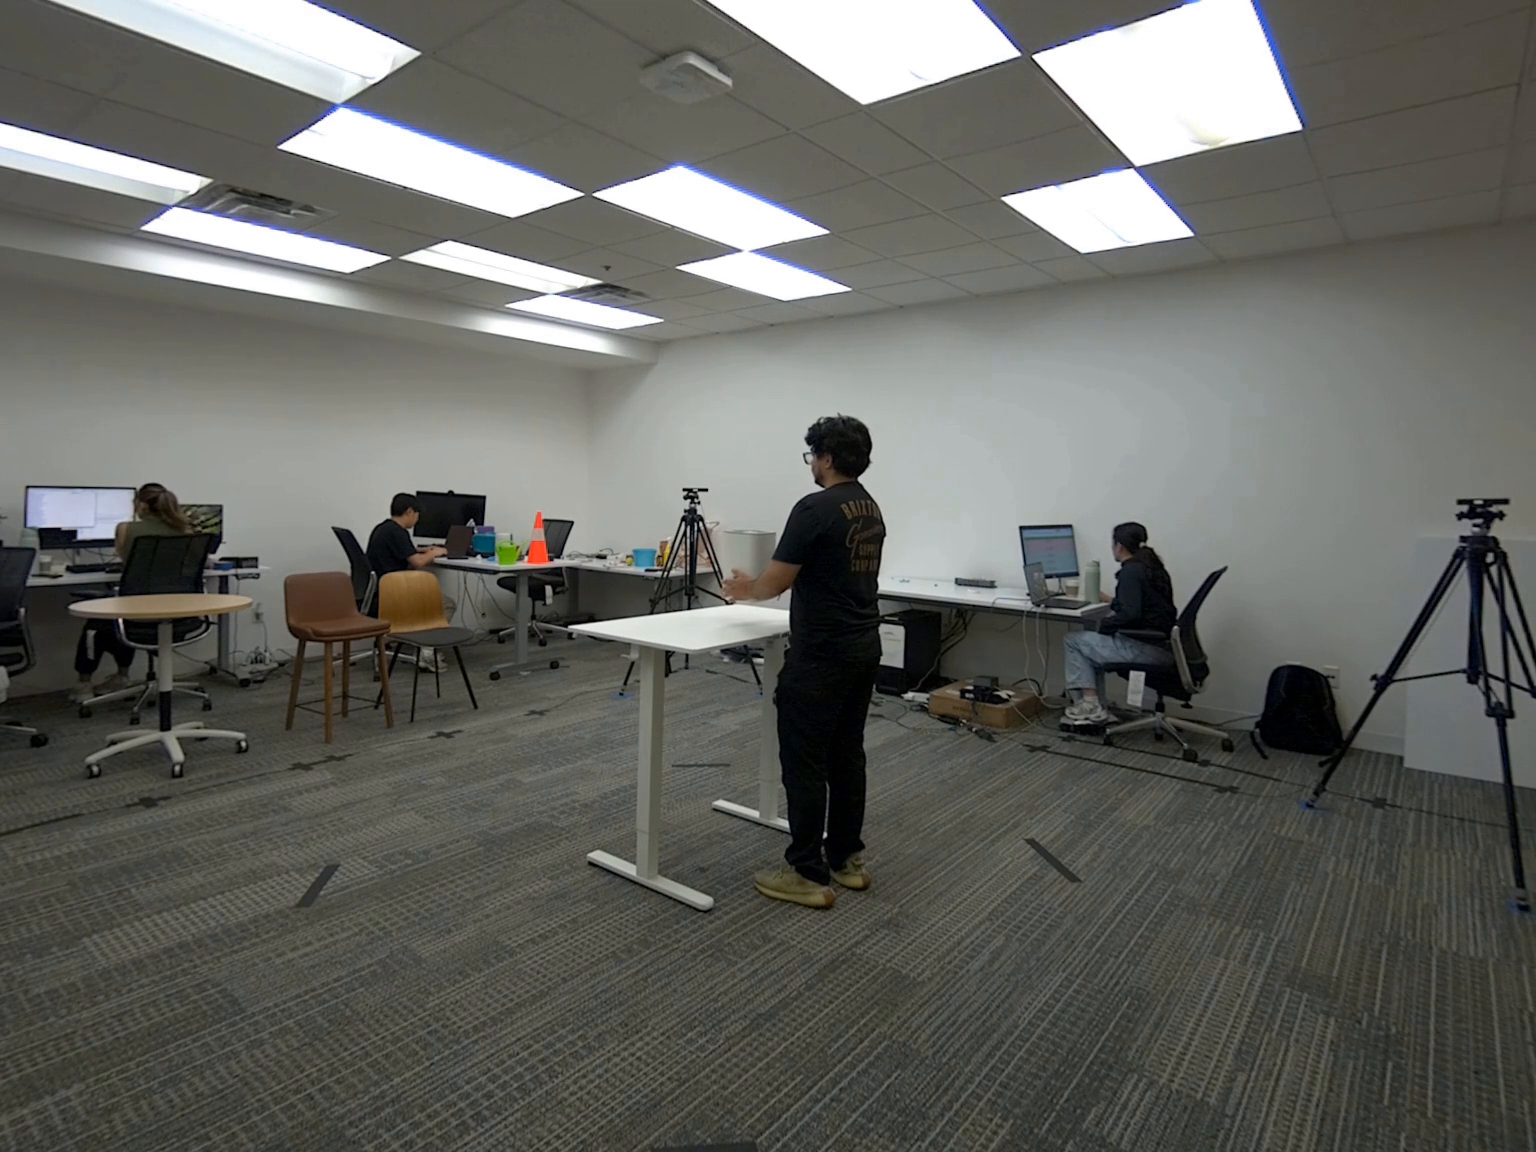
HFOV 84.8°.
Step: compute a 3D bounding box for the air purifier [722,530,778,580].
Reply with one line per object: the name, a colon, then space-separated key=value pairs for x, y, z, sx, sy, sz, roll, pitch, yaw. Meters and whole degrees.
air purifier: x=-0.079 y=-0.045 z=3.225 sx=0.176 sy=0.264 sz=0.167 roll=5 pitch=5 yaw=32
